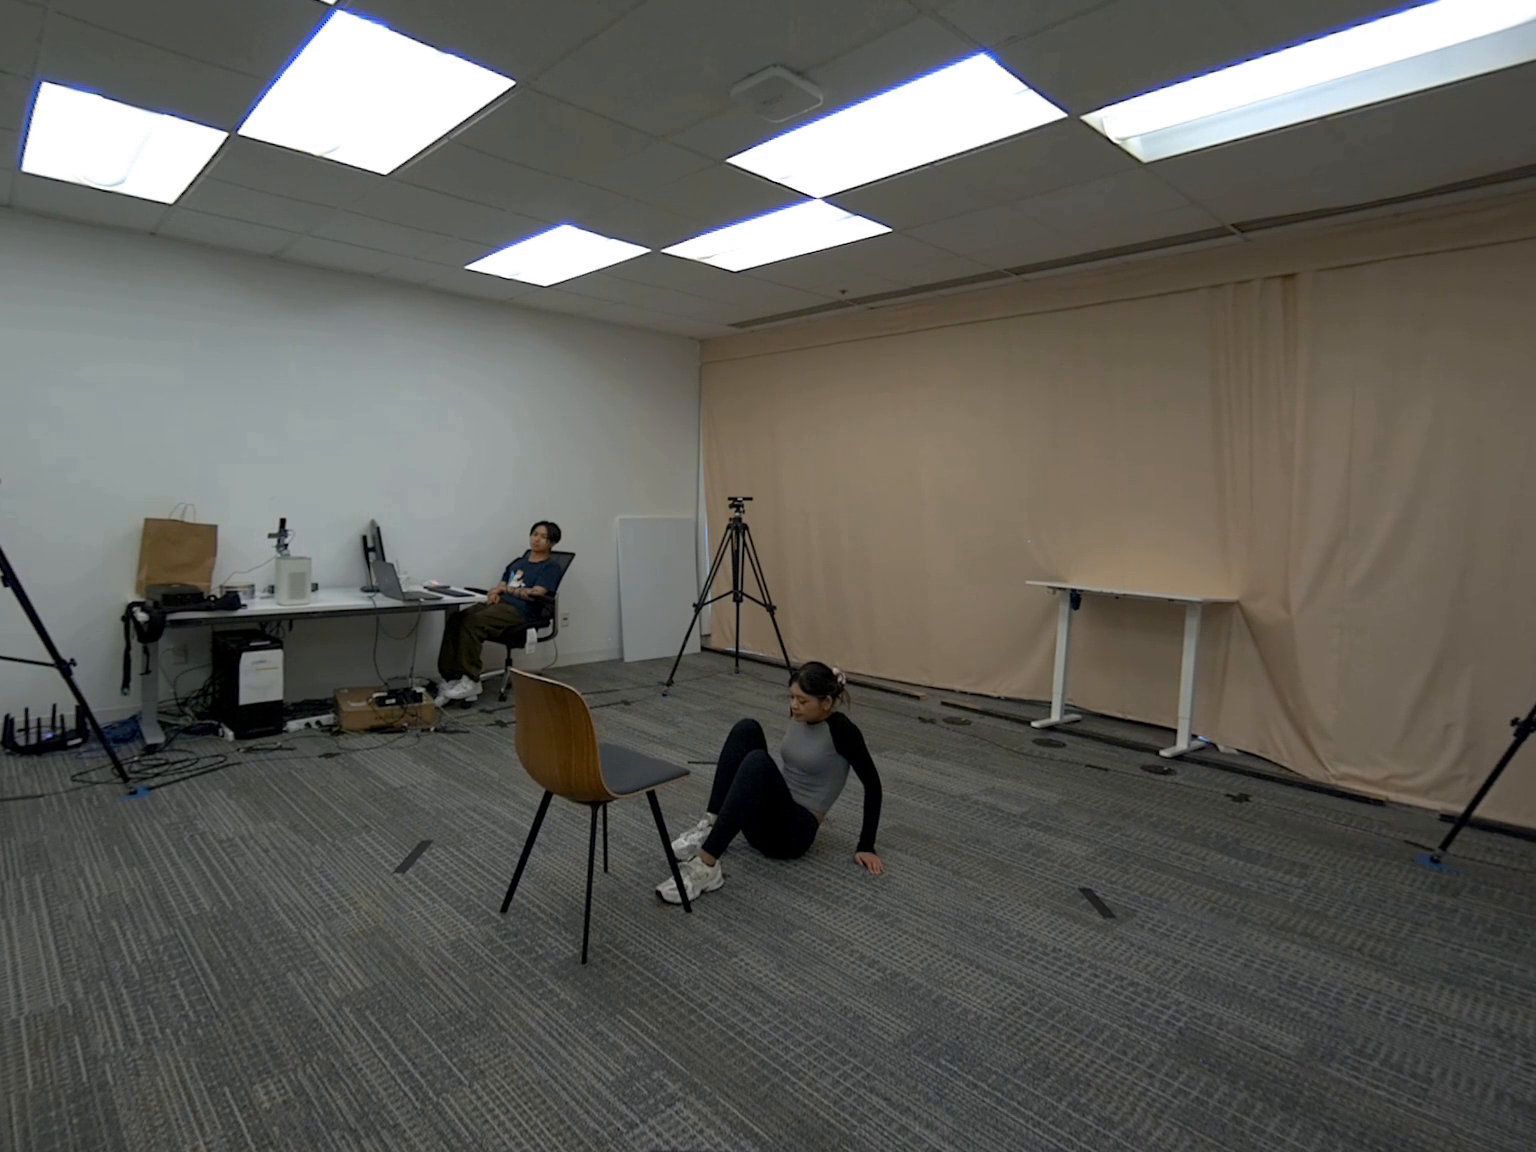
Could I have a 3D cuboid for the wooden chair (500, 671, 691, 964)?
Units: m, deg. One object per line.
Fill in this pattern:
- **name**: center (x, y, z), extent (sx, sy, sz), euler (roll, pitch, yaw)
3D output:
- **wooden chair**: center (-0.561, 0.698, 2.784), extent (0.490, 0.873, 0.513), euler (4, 9, 41)
